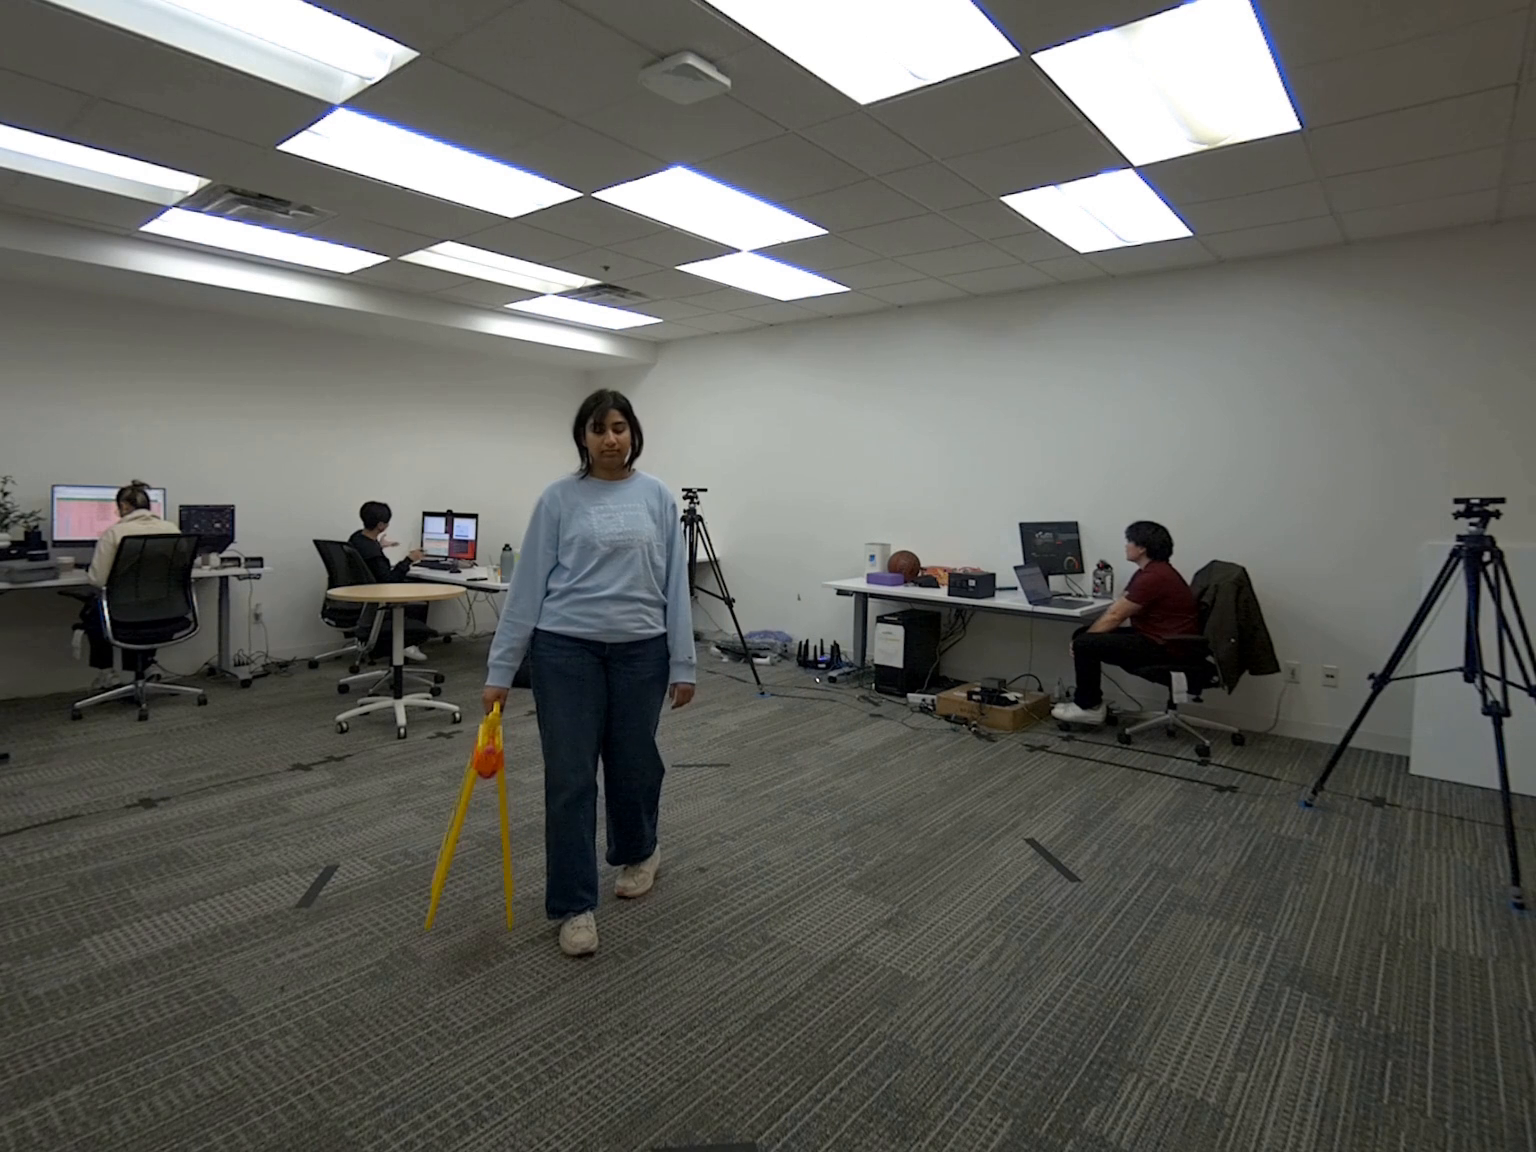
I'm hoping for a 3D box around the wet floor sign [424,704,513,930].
[{"bbox_3d":[-0.868,0.694,2.570,0.284,0.643,0.289,7,6,-17],"label":"wet floor sign"}]
